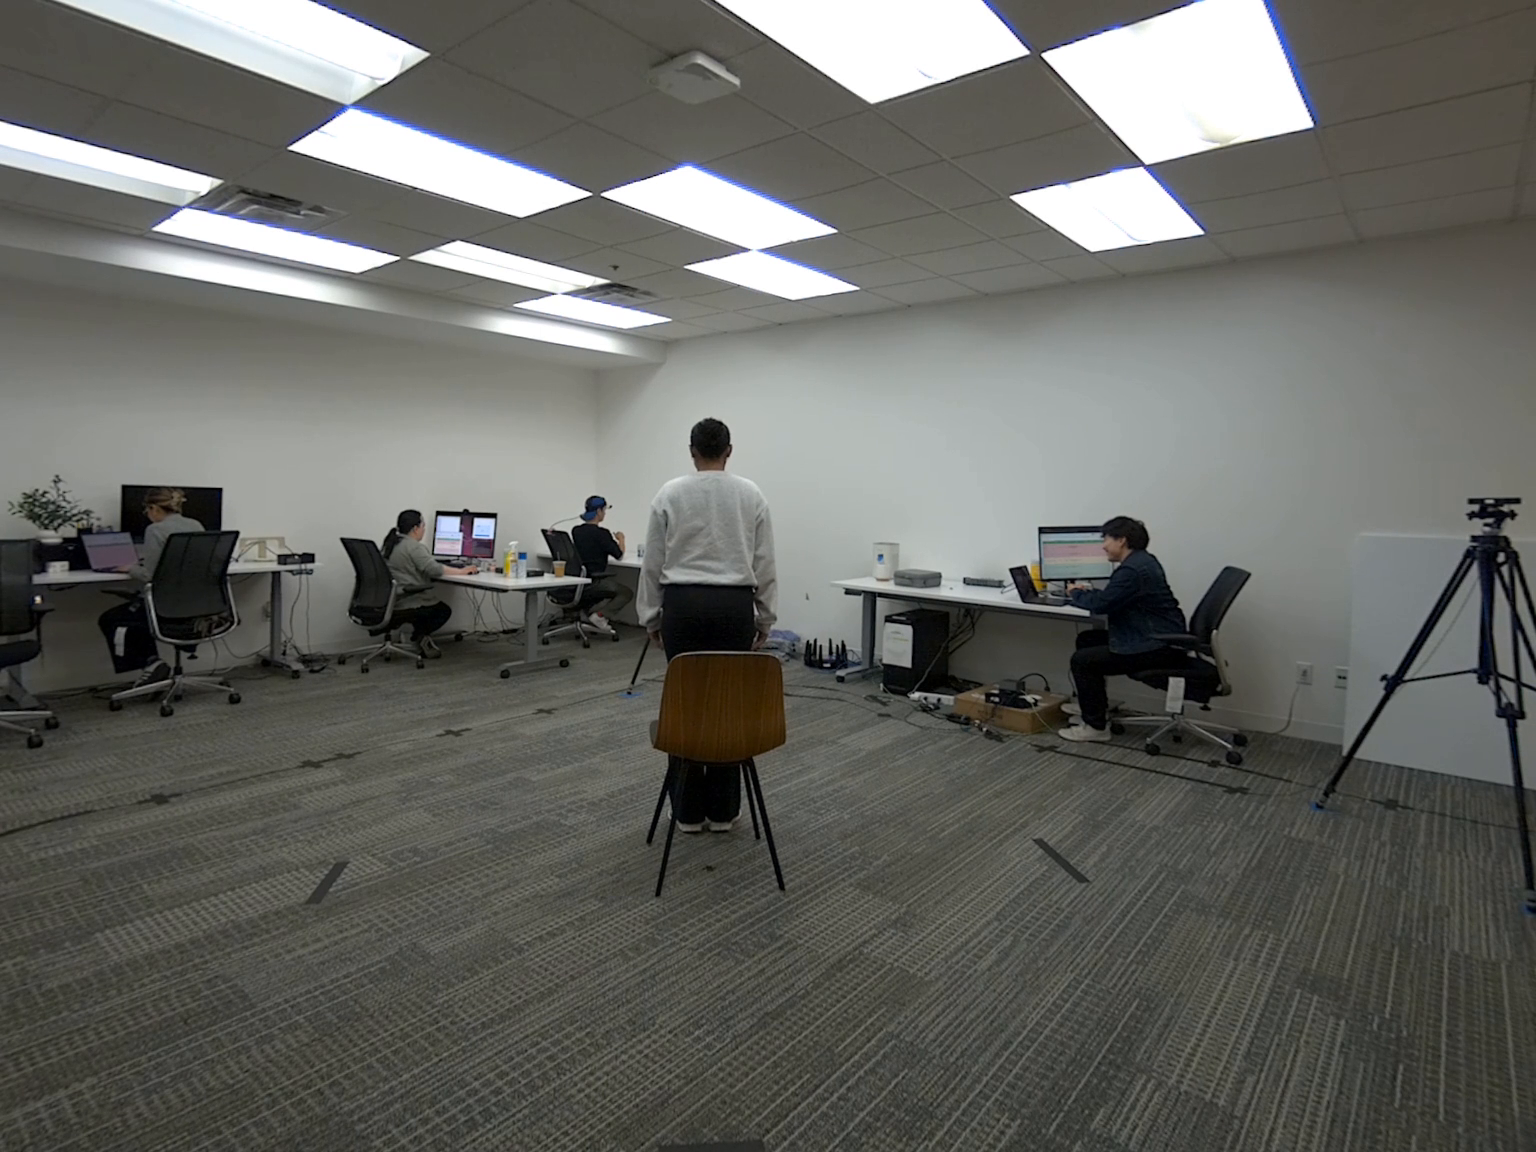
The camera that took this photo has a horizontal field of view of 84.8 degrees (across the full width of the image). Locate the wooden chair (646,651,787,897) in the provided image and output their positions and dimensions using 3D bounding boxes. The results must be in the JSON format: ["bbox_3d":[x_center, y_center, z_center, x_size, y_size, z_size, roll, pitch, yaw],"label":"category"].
[{"bbox_3d":[-0.210,0.635,3.111,0.473,0.872,0.532,0,7,-11],"label":"wooden chair"}]
